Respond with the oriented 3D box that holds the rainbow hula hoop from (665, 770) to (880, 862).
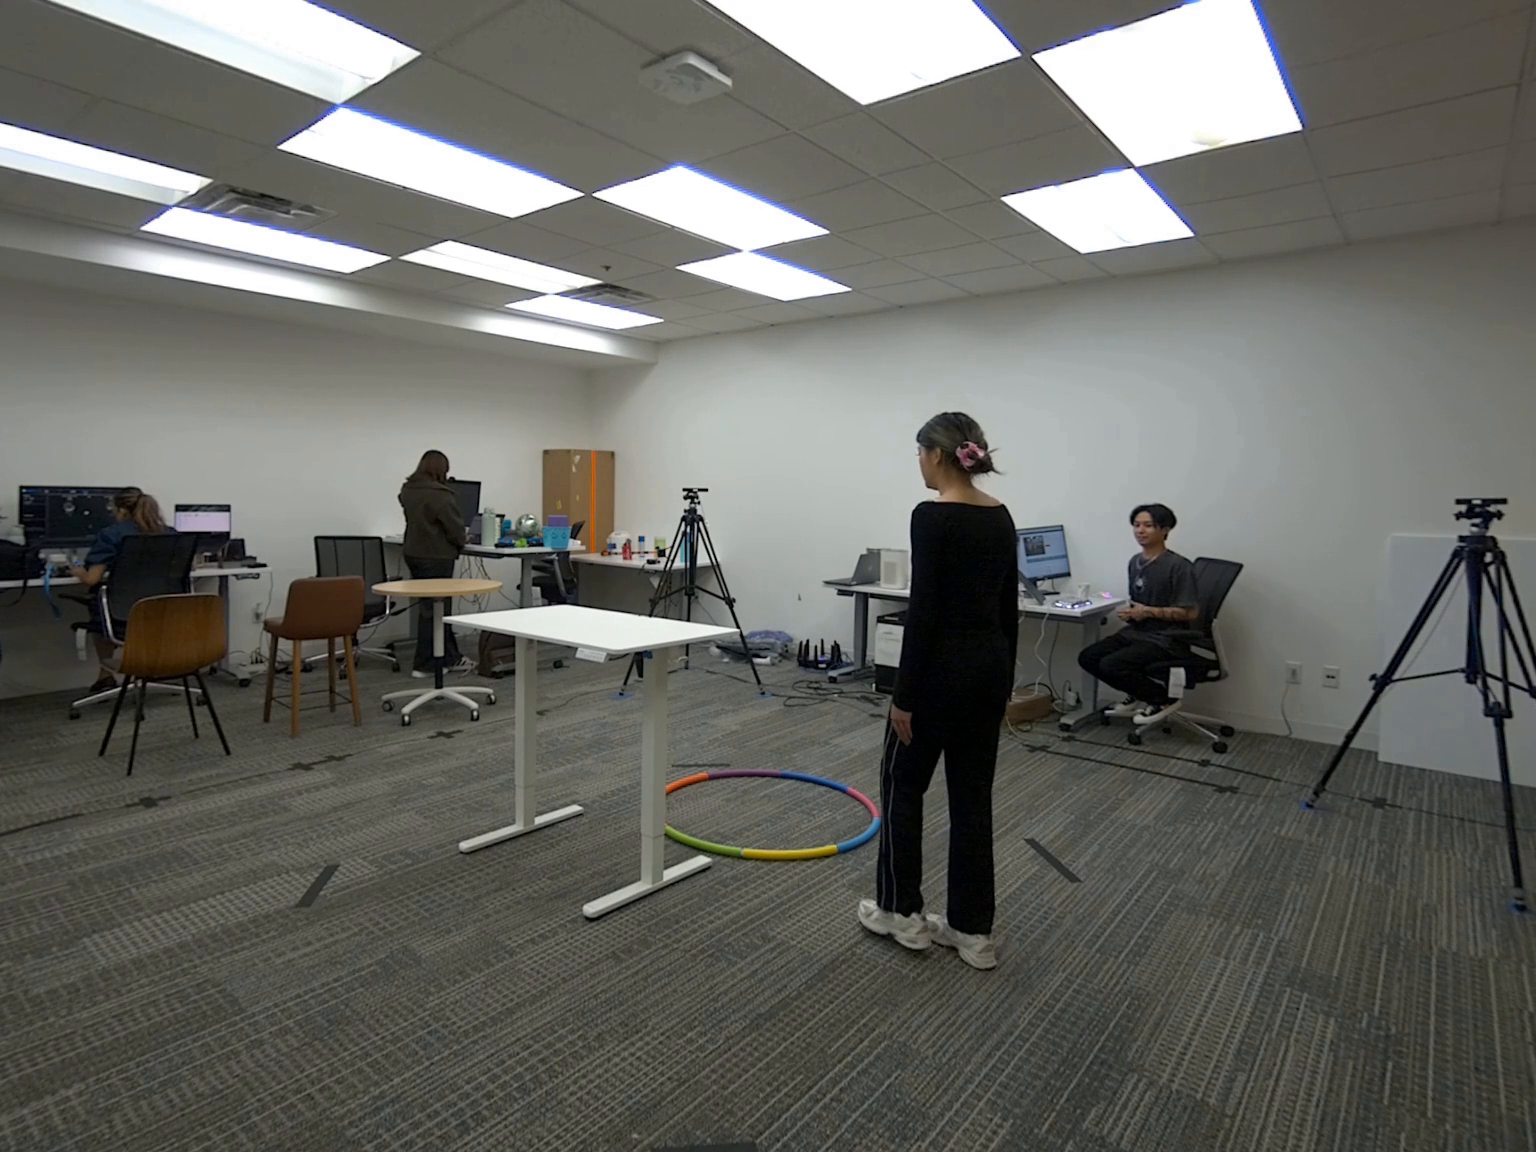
[{"bbox_3d":[-0.033,0.990,3.668,0.978,0.035,0.984,1,6,-2],"label":"rainbow hula hoop"}]
